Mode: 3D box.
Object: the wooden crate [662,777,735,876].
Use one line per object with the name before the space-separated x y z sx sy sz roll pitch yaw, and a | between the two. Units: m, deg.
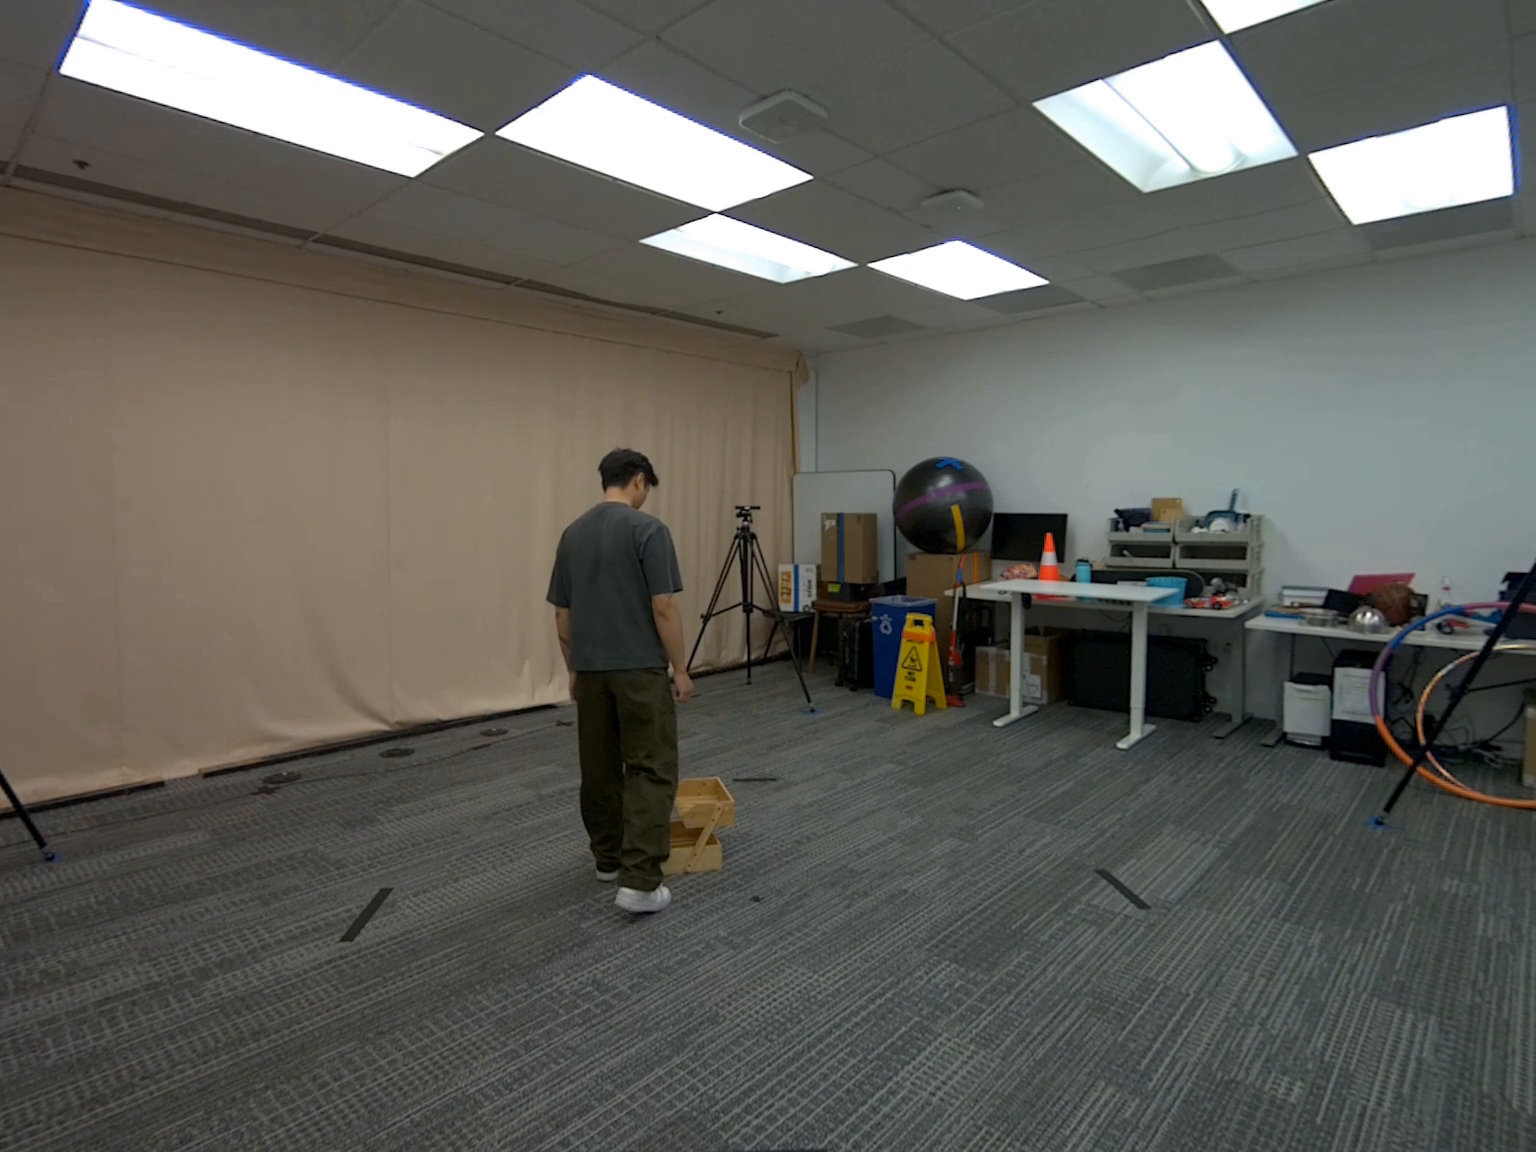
wooden crate | -0.315 0.979 3.347 0.298 0.273 0.329 -1 4 -13
